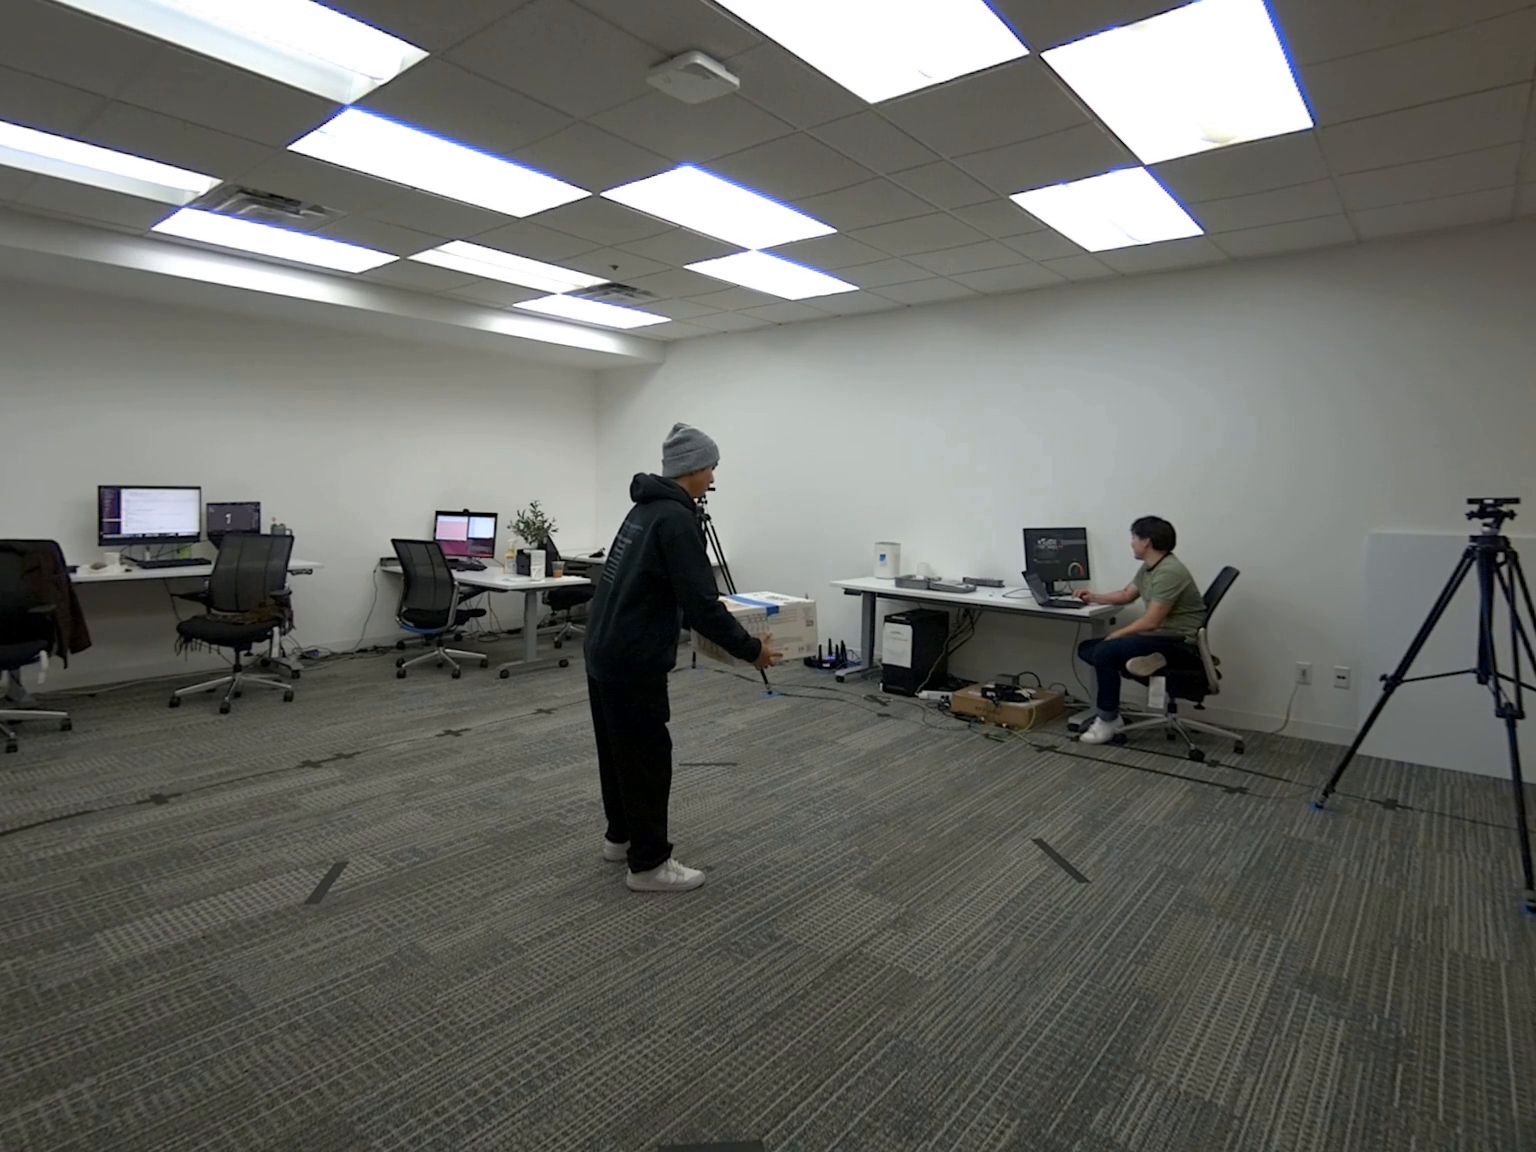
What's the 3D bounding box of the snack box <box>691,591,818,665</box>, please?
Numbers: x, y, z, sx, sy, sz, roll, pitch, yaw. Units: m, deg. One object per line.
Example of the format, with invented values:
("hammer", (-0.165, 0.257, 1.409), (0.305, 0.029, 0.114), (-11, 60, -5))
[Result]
("snack box", (-0.072, 0.195, 3.205), (0.333, 0.205, 0.416), (-6, 7, -25))
